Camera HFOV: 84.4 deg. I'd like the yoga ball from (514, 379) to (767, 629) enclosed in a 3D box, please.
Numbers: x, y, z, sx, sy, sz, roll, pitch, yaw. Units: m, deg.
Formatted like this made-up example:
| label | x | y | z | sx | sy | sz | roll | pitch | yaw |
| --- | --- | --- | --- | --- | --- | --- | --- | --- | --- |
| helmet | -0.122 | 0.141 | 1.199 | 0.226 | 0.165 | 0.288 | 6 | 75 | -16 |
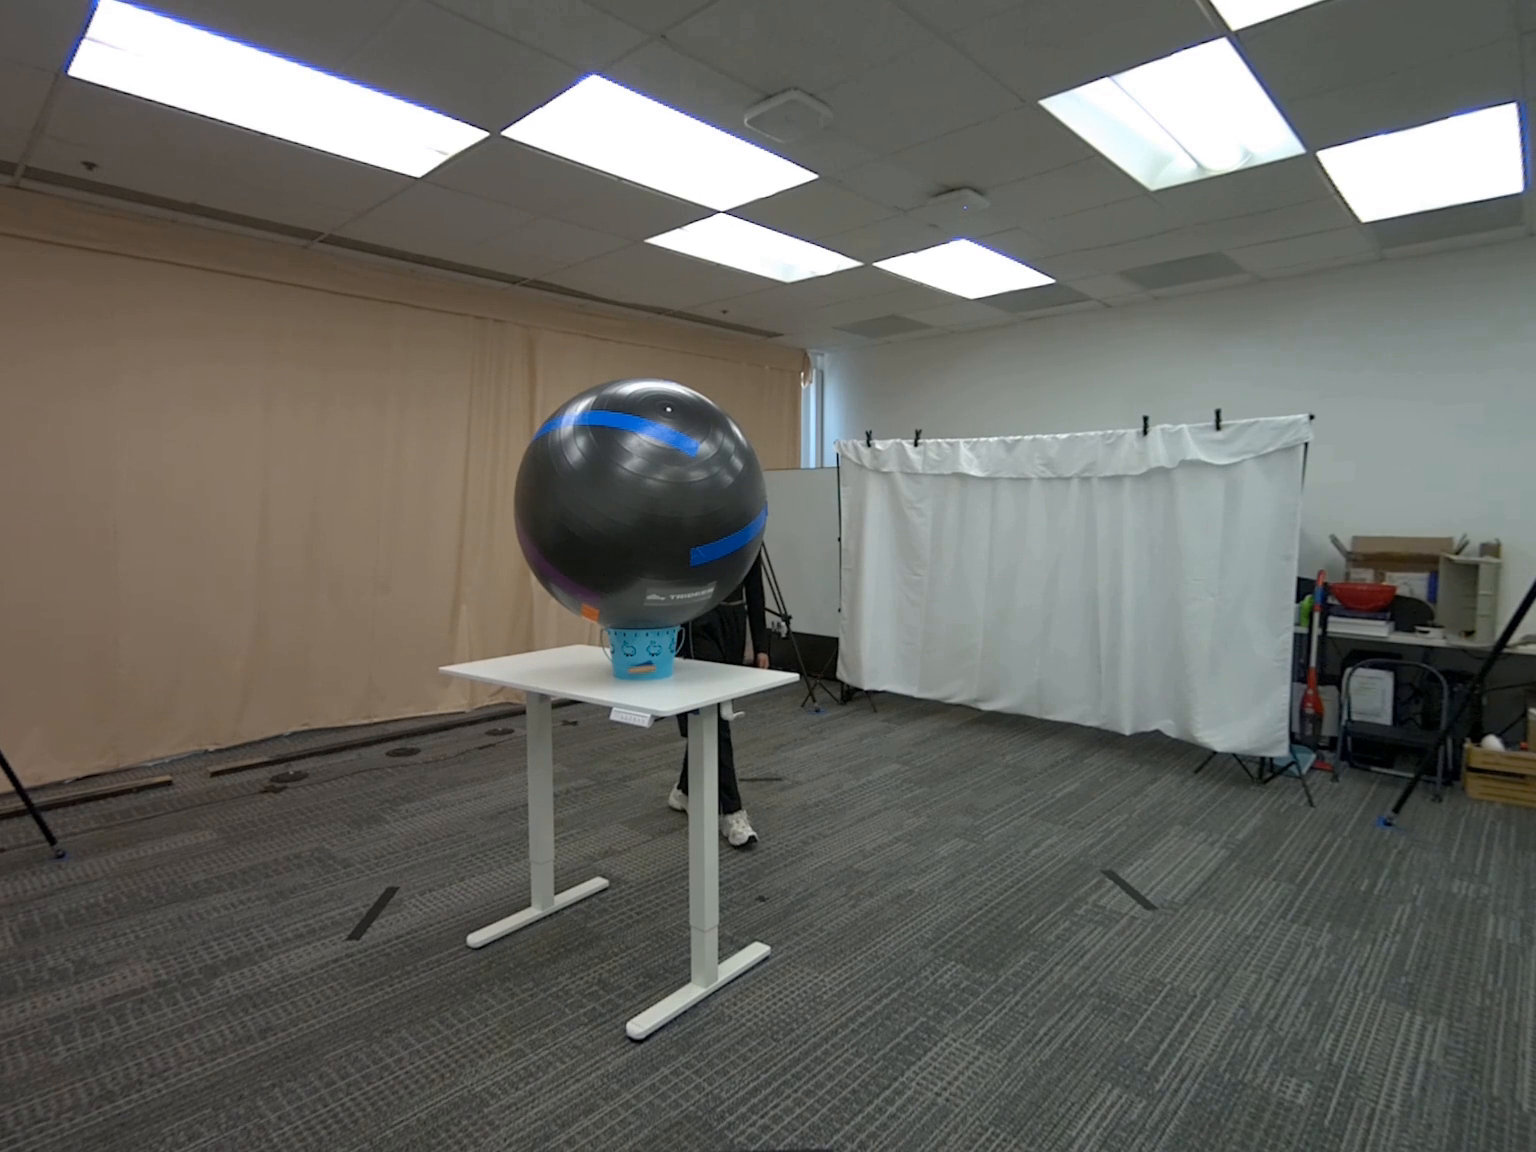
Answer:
| label | x | y | z | sx | sy | sz | roll | pitch | yaw |
| --- | --- | --- | --- | --- | --- | --- | --- | --- | --- |
| yoga ball | -0.376 | -0.205 | 2.532 | 0.757 | 0.756 | 0.761 | 0 | 4 | -2 |
